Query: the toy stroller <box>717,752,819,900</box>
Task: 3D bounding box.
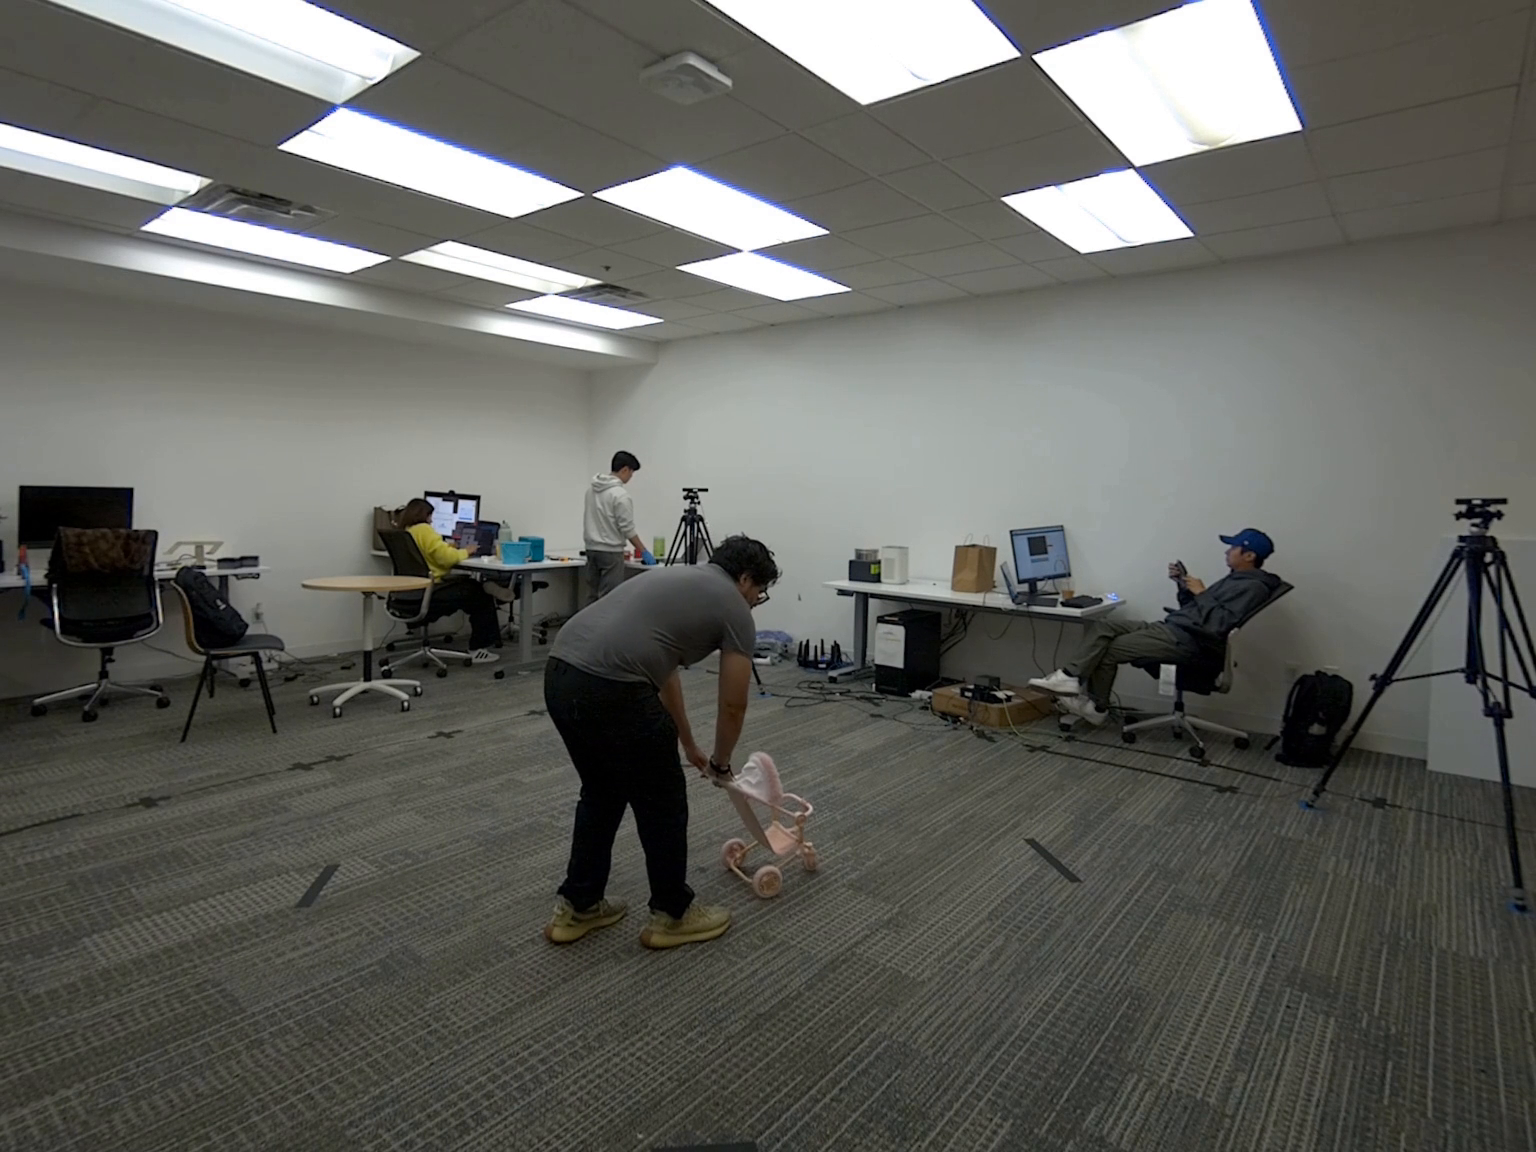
[{"bbox_3d":[-0.017,0.856,3.023,0.336,0.529,0.289,-19,11,-21],"label":"toy stroller"}]
